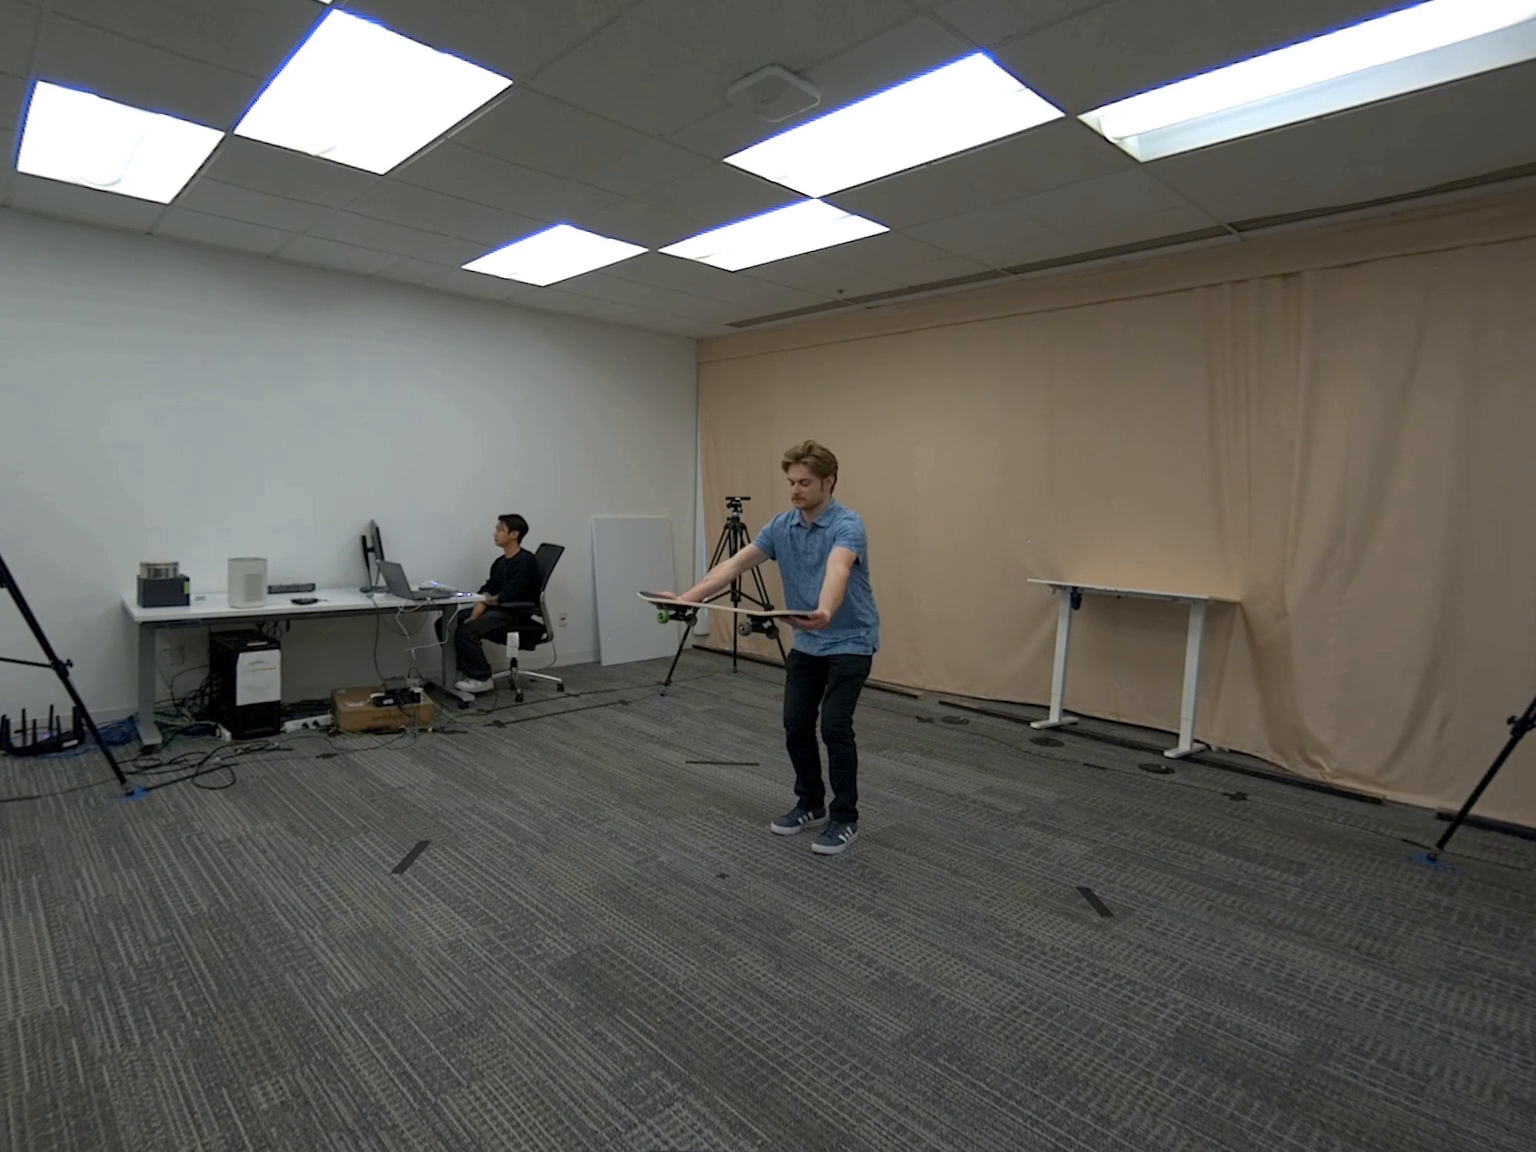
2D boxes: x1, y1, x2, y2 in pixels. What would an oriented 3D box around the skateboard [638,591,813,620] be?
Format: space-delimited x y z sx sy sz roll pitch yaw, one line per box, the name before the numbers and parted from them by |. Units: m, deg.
skateboard | -0.177 0.149 3.064 0.805 0.110 0.188 5 -4 41
